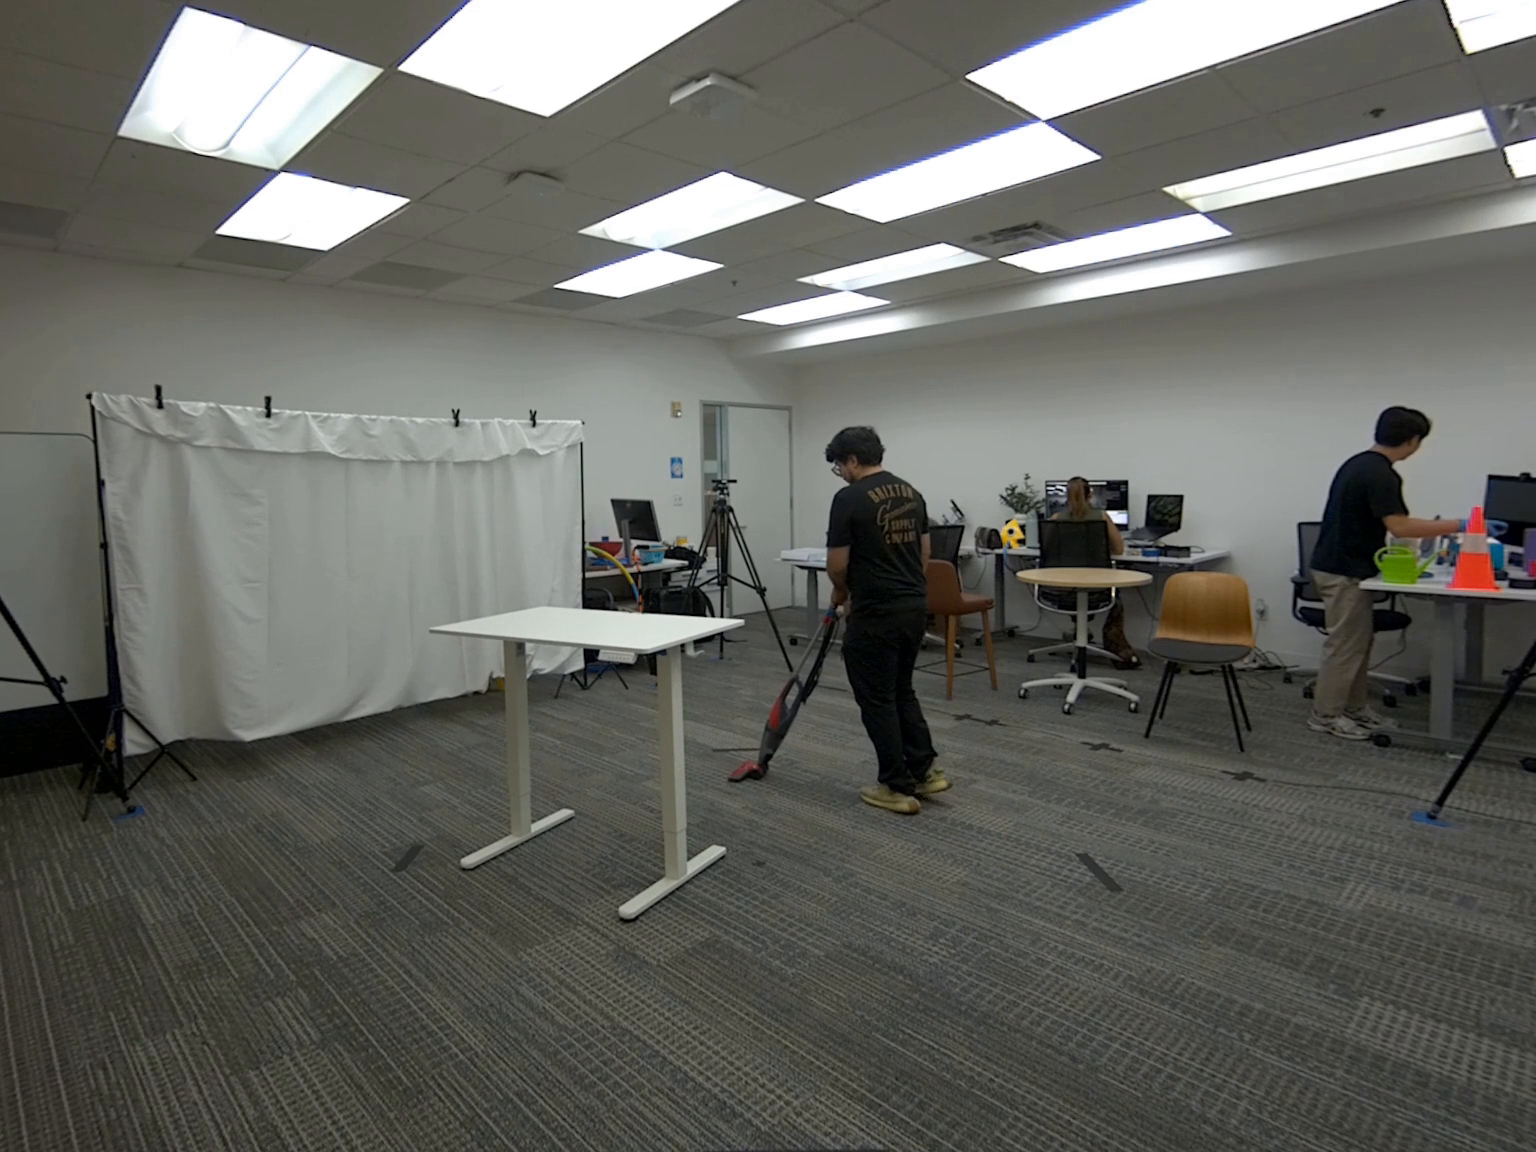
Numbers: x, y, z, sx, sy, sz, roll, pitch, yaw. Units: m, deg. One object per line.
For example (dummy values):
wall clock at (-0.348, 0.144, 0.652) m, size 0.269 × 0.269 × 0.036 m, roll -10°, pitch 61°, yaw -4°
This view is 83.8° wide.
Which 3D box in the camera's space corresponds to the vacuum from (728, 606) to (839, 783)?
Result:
vacuum at (0.157, 0.491, 3.942) m, size 0.147 × 1.044 × 0.248 m, roll 33°, pitch 15°, yaw 18°
